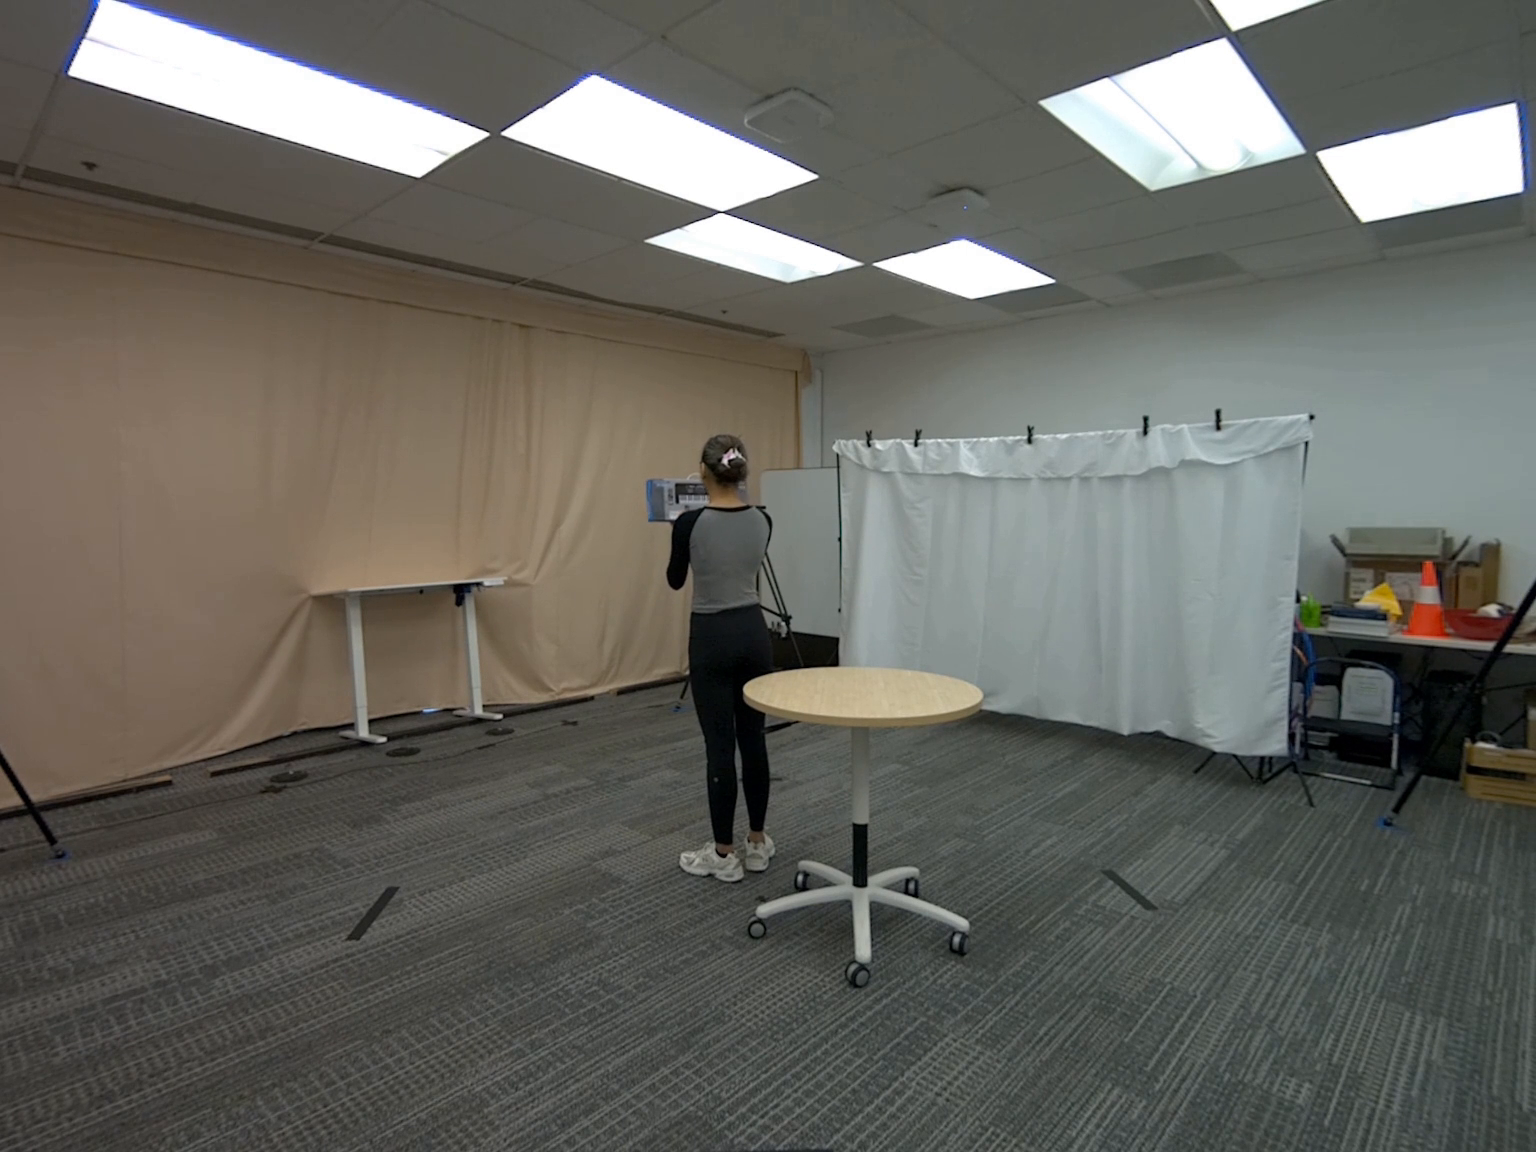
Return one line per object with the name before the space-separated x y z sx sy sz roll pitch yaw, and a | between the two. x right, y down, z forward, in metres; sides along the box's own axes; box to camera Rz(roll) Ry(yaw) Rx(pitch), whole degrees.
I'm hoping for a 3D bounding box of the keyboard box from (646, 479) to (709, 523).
keyboard box | -0.289 -0.312 3.521 0.427 0.176 0.060 -2 -4 -23
